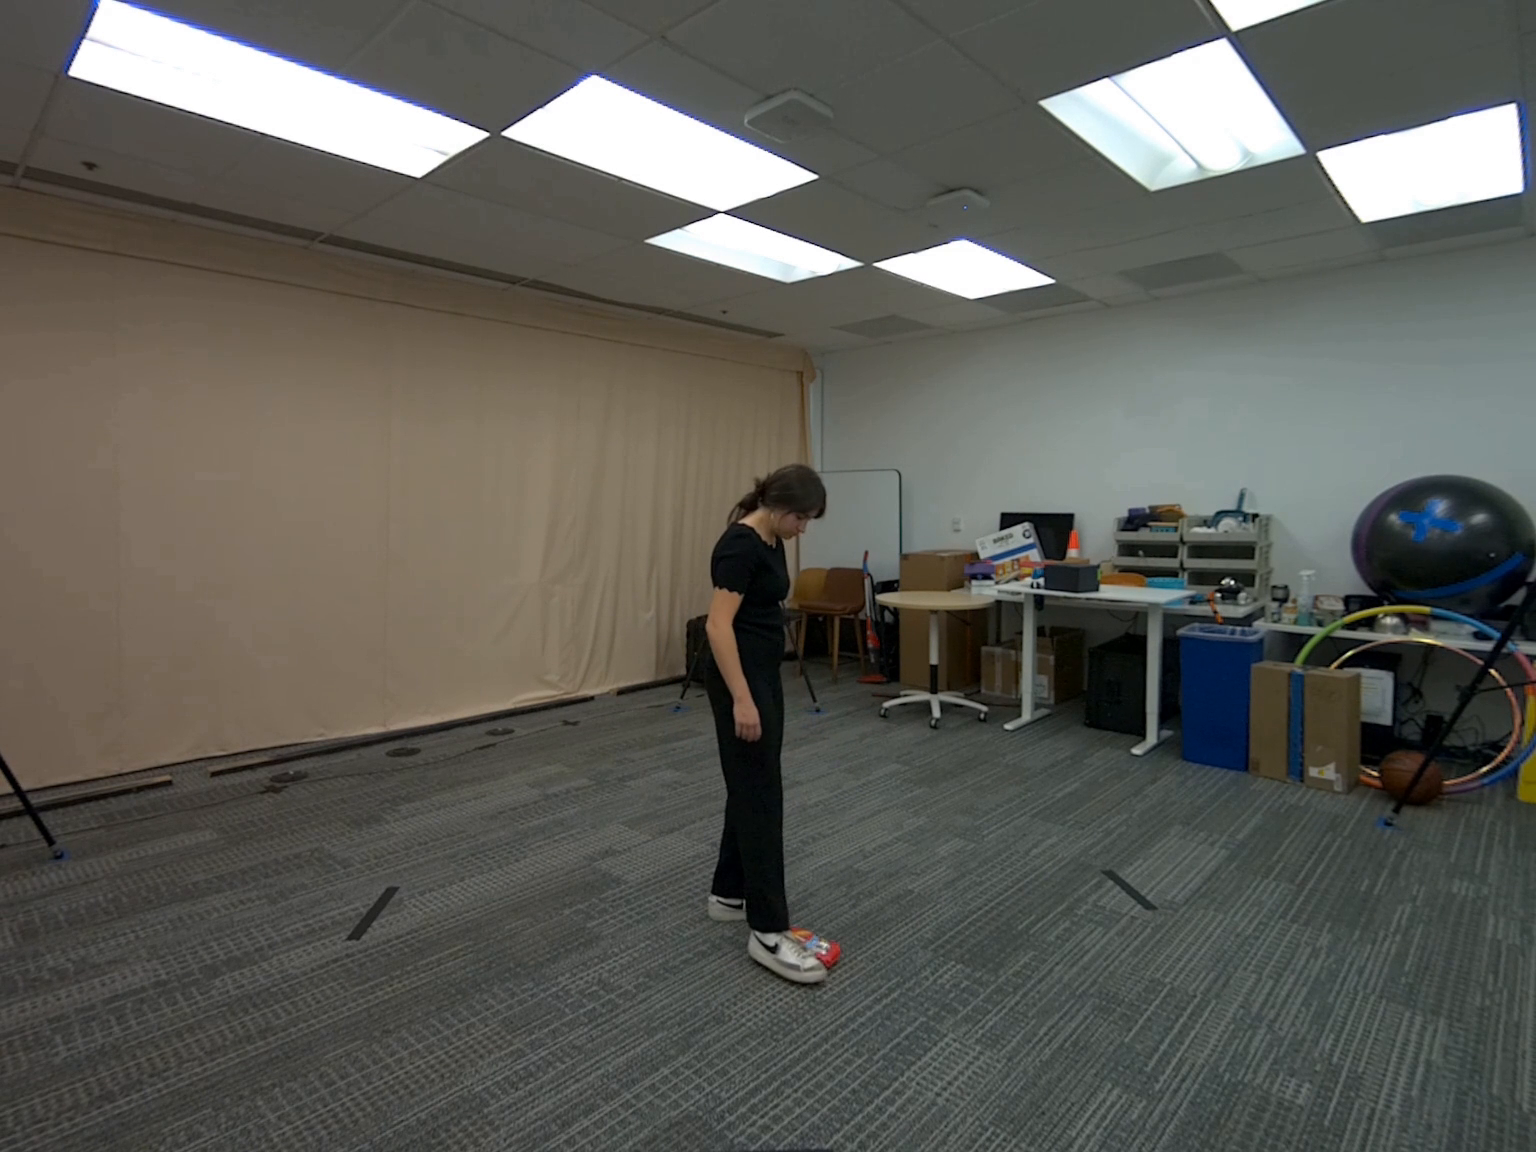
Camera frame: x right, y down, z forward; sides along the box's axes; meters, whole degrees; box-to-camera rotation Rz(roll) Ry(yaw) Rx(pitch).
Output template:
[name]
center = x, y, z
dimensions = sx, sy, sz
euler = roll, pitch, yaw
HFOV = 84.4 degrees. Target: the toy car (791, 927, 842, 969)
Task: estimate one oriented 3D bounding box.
[toy car]
center = 0.101, 1.145, 2.598
dimensions = 0.263, 0.083, 0.126
euler = 15, 11, 32
